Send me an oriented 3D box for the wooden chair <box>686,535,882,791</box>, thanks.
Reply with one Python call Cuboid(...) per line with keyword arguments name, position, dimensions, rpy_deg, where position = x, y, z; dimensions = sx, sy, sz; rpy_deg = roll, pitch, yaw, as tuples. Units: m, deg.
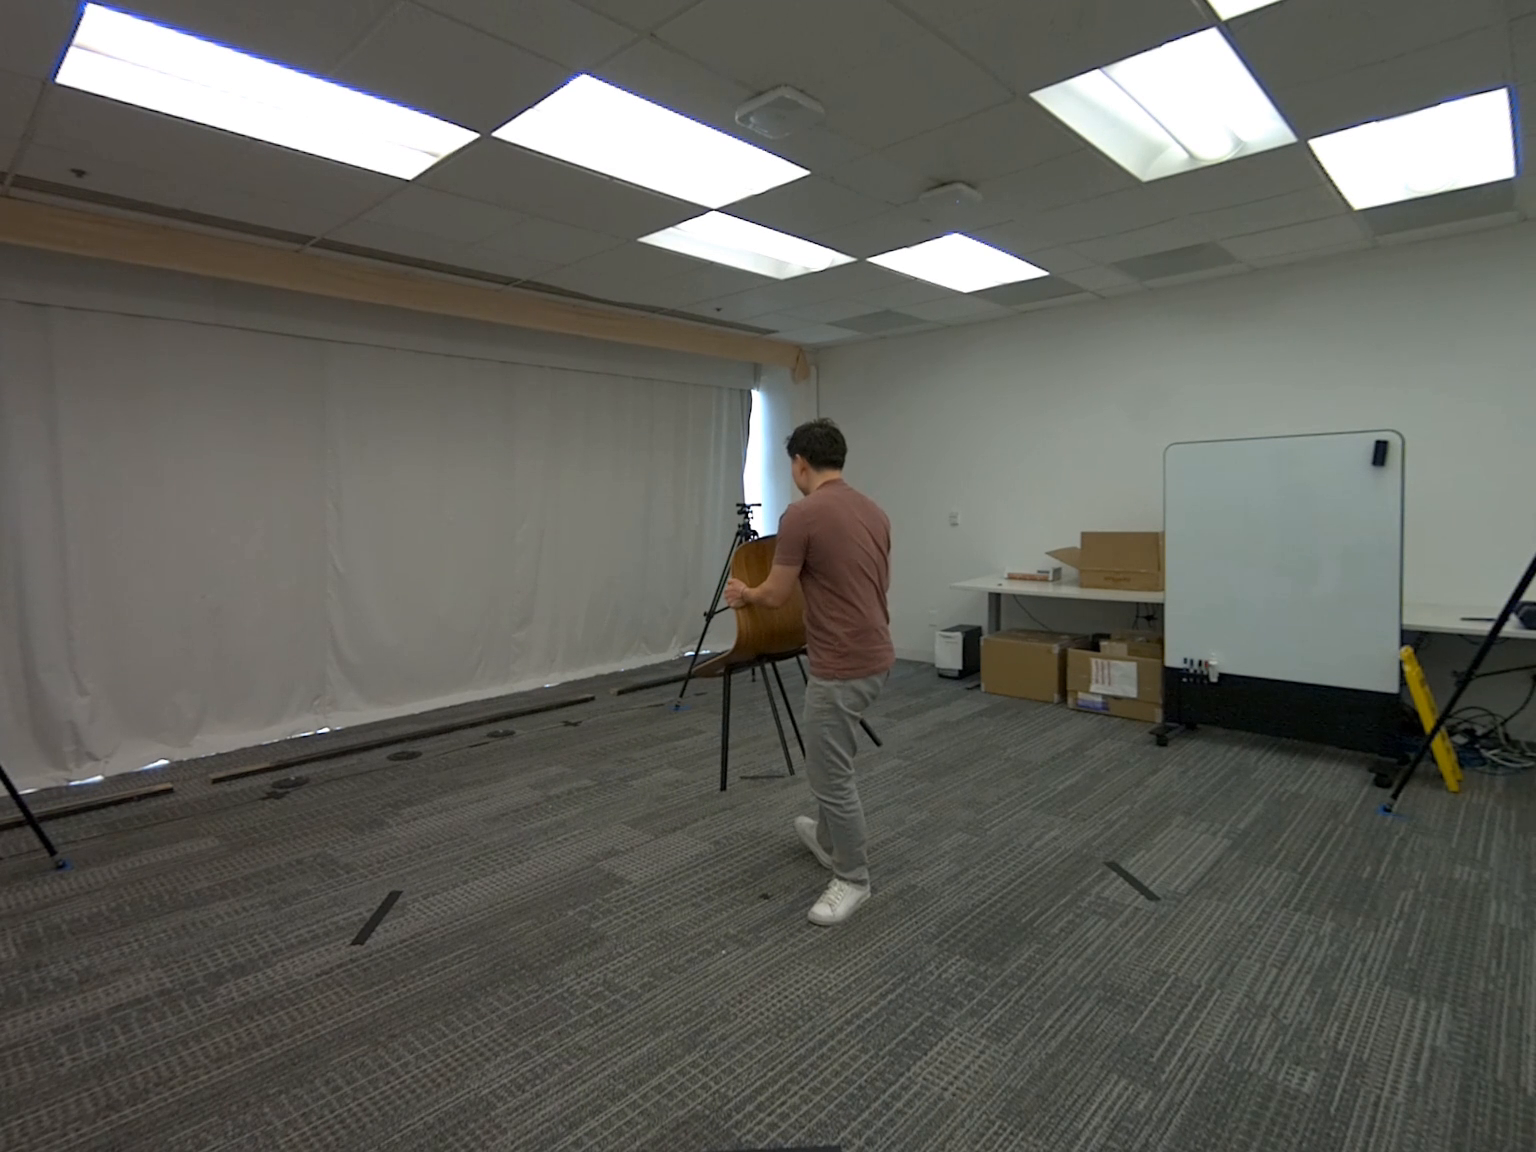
Cuboid(name="wooden chair", position=(-0.010, 0.331, 3.257), dimensions=(0.464, 0.884, 0.534), rpy_deg=(-8, -11, -39))
